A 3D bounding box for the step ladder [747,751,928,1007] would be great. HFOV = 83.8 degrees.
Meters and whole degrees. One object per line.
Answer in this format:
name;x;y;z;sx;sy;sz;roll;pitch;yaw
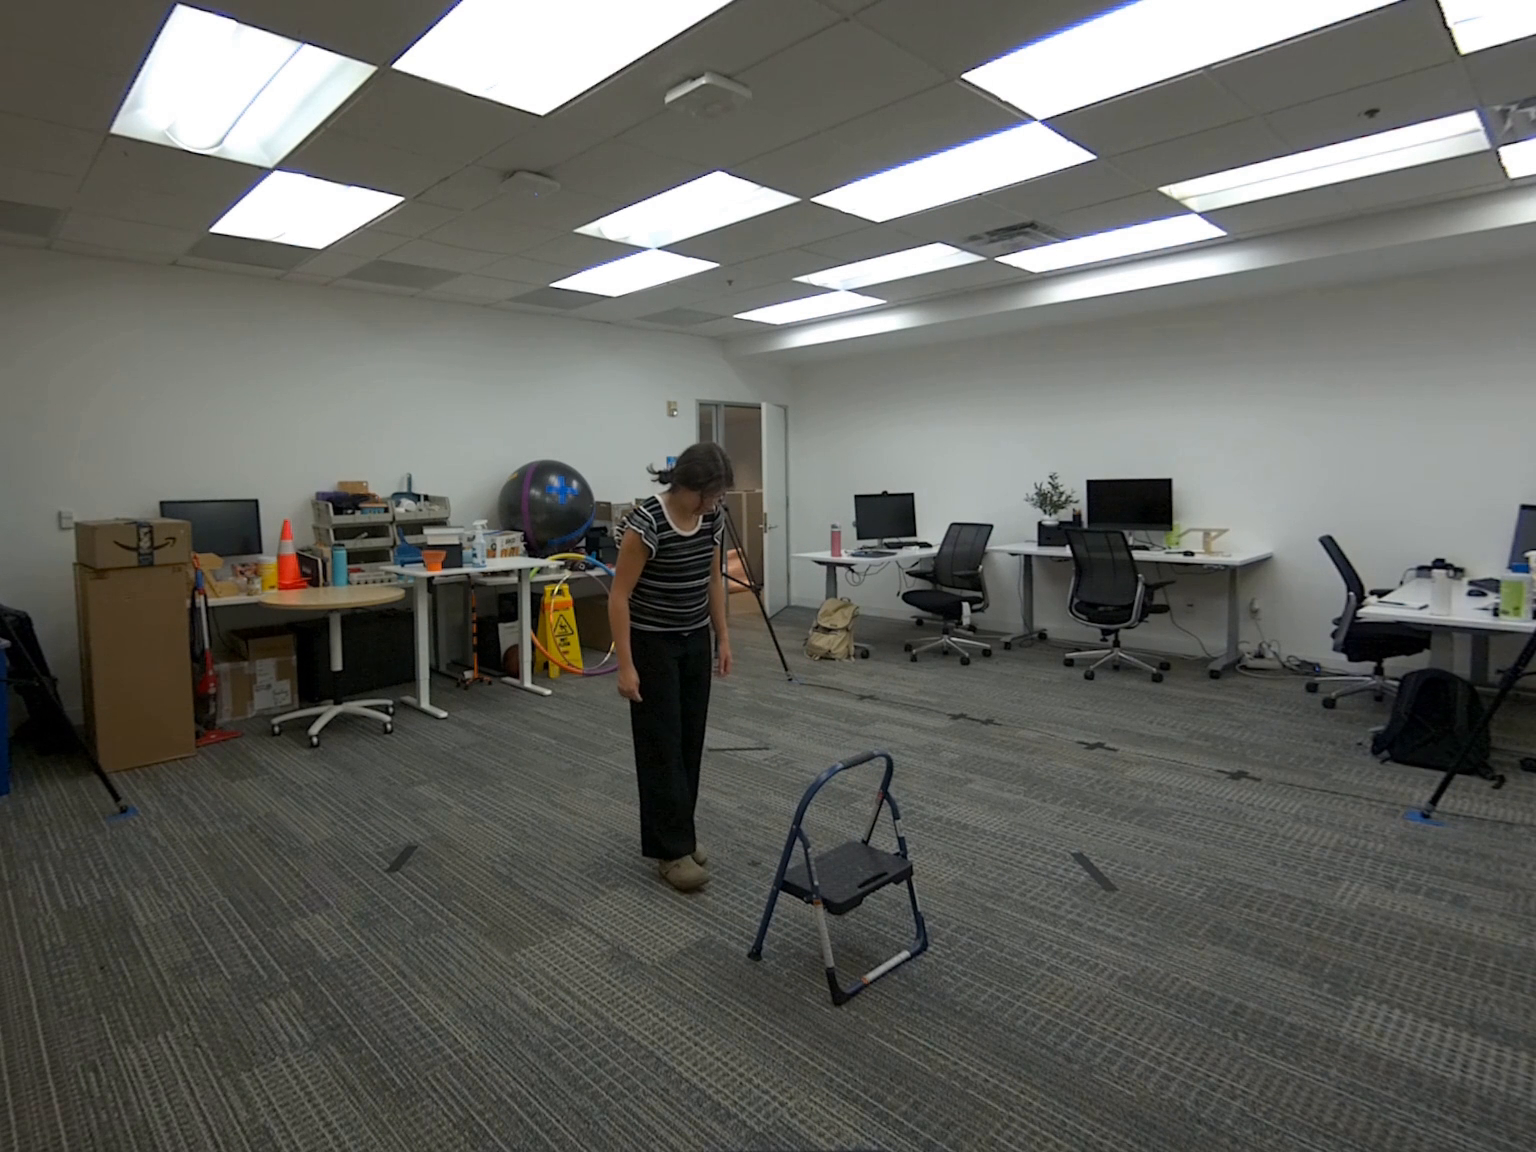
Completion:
step ladder;0.209;0.811;2.497;0.419;0.604;0.360;-6;6;-44
